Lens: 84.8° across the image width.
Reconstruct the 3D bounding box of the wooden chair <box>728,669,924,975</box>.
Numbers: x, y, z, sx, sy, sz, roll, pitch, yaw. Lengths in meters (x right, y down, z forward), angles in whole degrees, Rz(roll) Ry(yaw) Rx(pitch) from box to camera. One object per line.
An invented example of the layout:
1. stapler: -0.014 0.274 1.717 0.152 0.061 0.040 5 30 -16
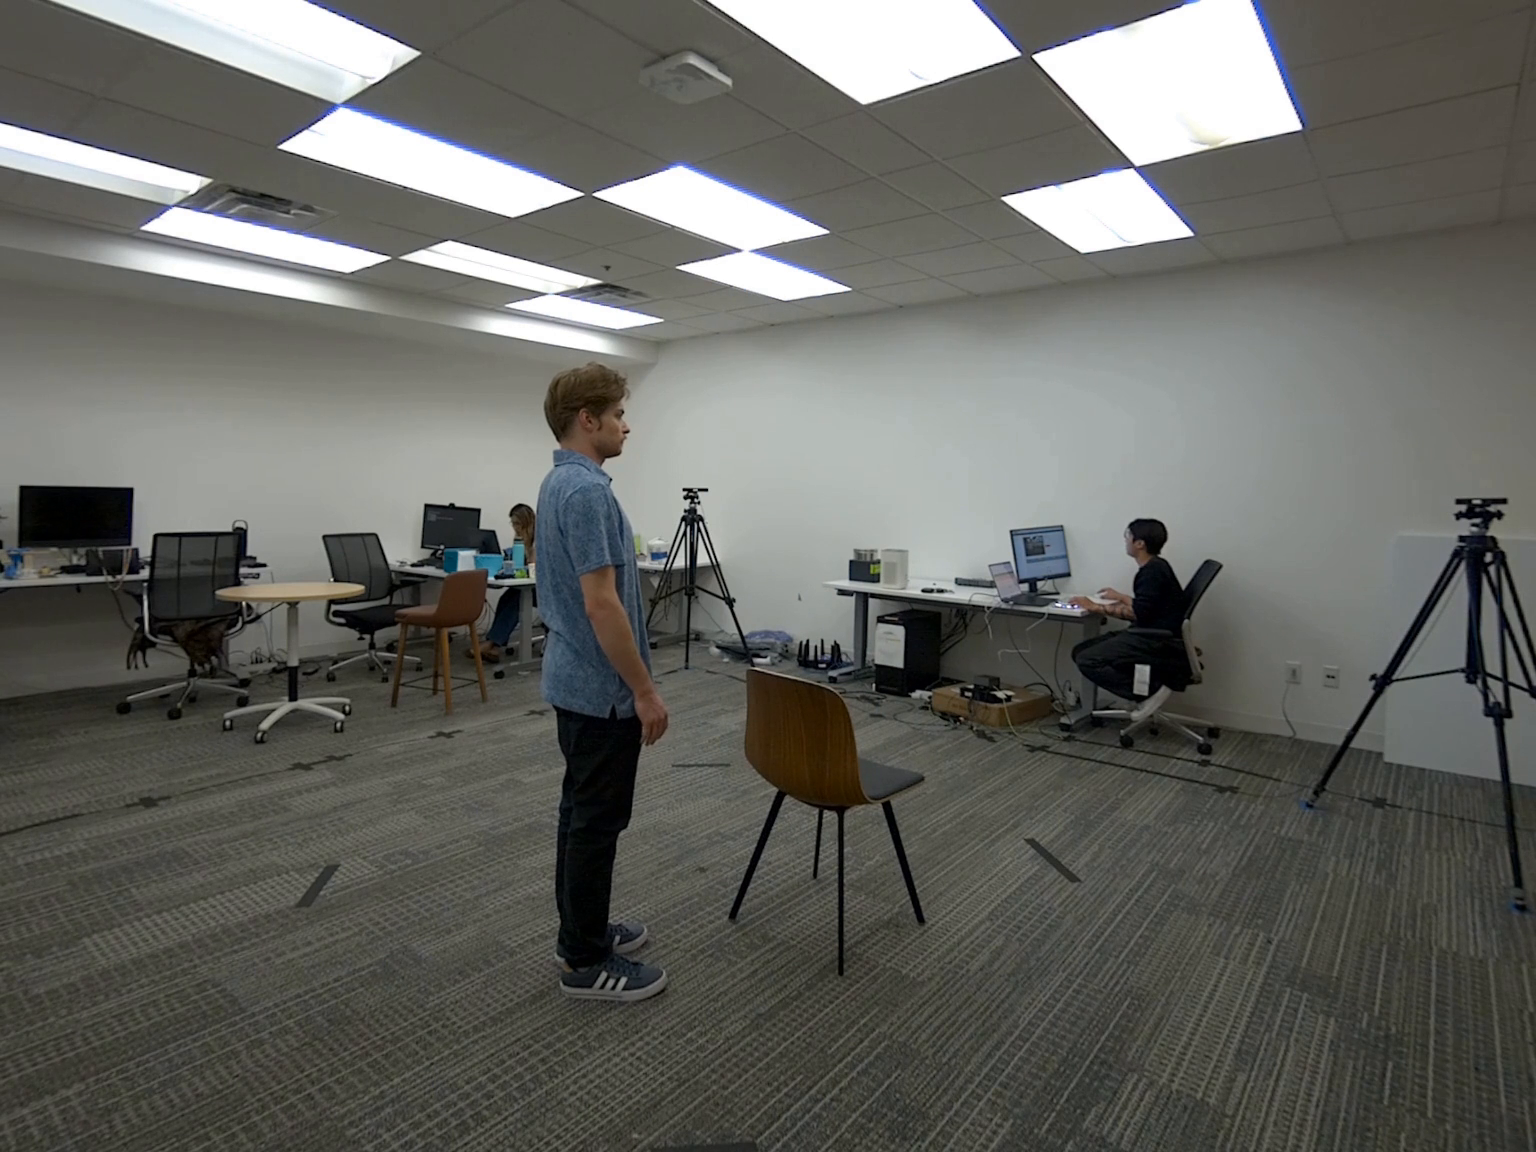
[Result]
1. wooden chair: 0.197 0.686 2.736 0.494 0.872 0.509 4 8 42
